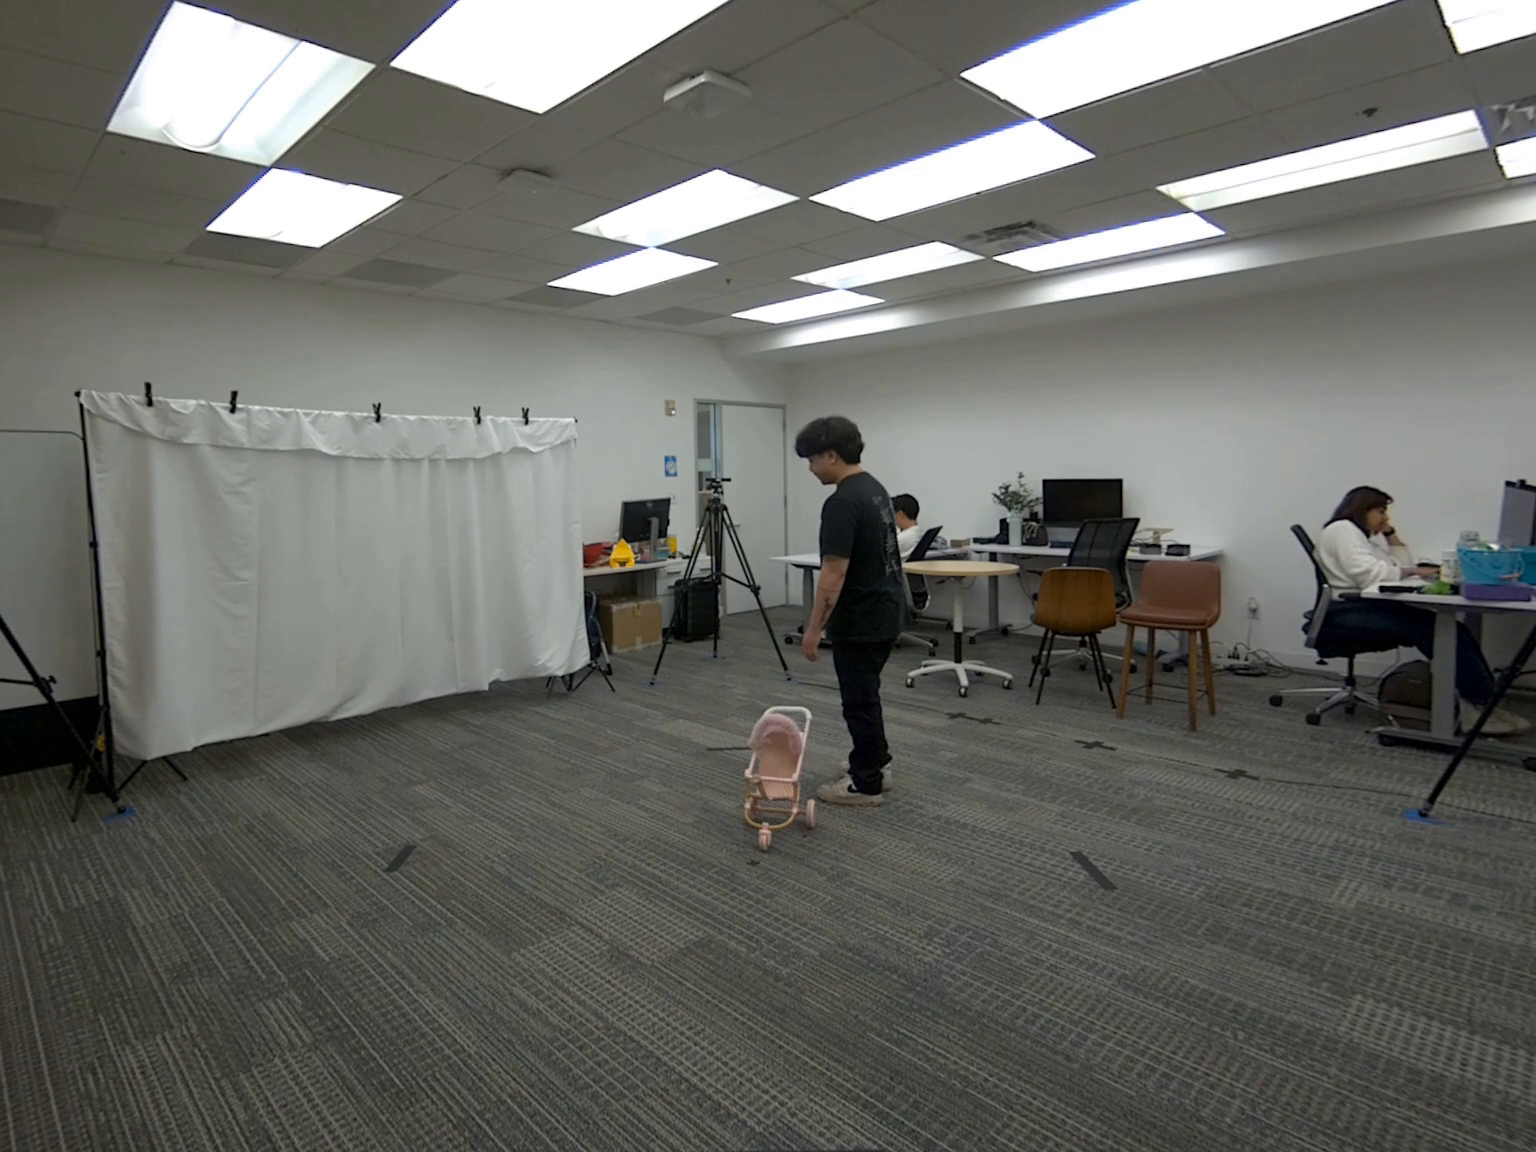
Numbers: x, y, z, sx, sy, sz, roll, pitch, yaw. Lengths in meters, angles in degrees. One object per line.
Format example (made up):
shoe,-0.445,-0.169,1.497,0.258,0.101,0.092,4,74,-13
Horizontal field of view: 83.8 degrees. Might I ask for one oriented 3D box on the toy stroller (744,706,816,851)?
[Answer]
toy stroller,0.030,0.784,3.377,0.287,0.540,0.332,0,-10,20
